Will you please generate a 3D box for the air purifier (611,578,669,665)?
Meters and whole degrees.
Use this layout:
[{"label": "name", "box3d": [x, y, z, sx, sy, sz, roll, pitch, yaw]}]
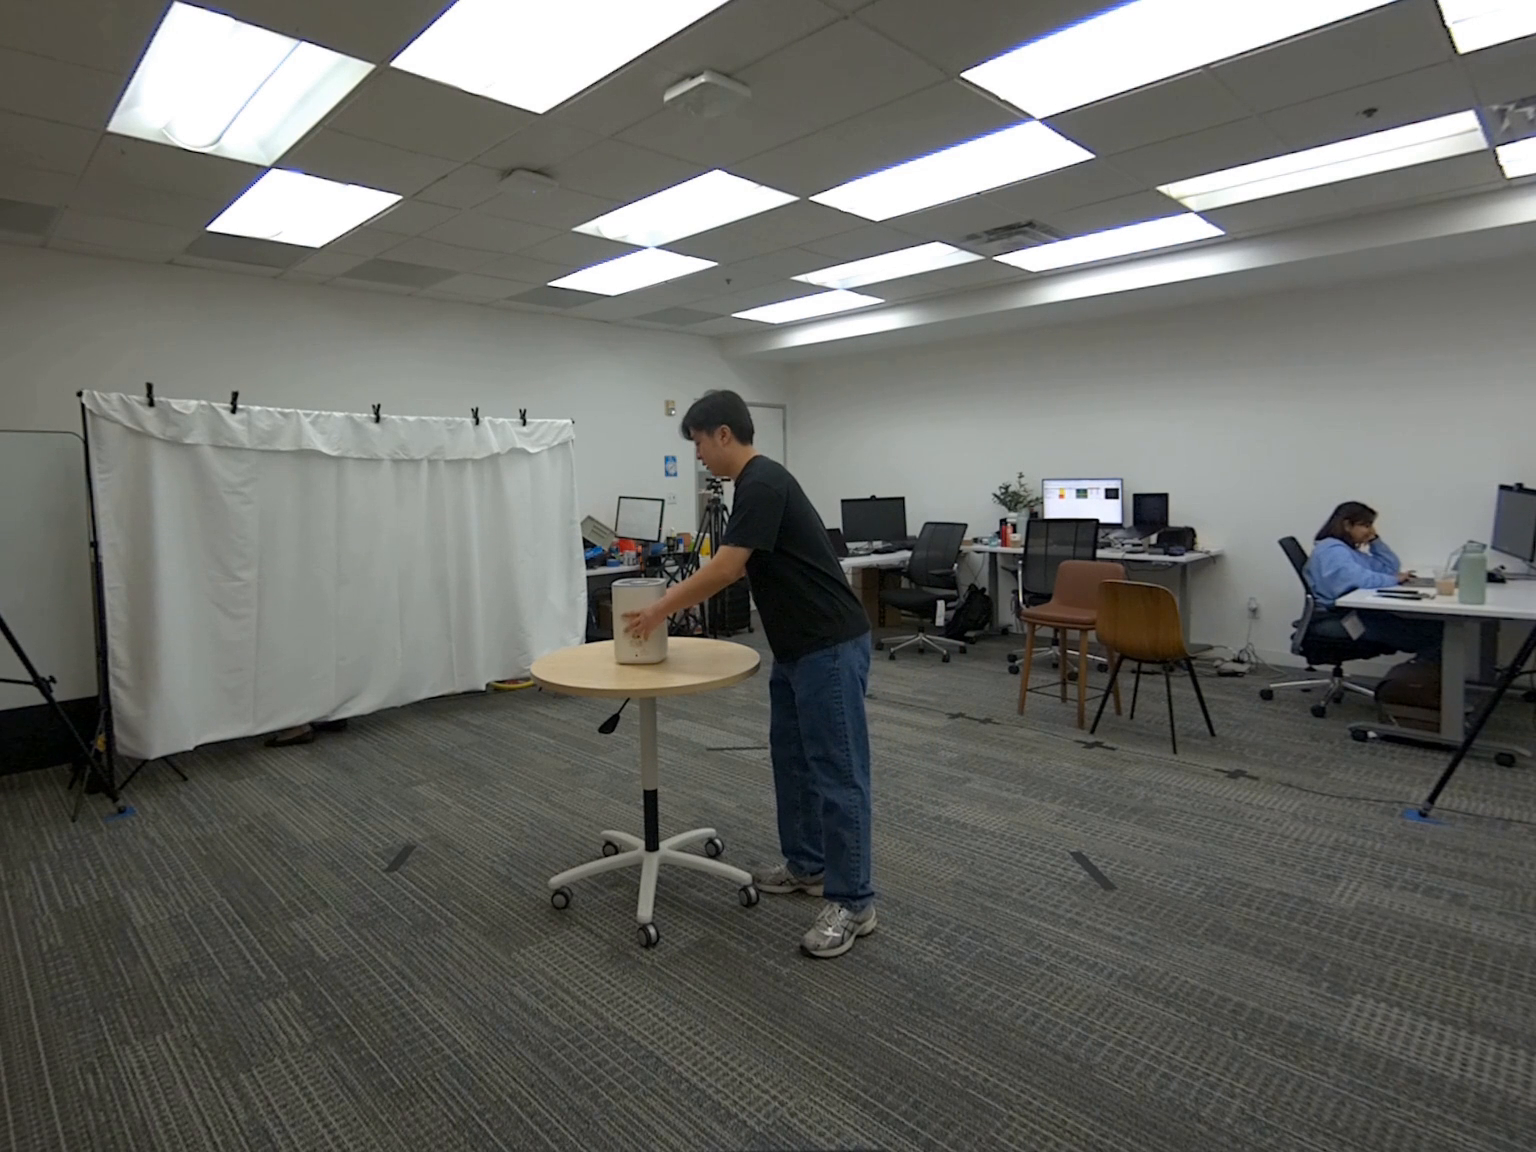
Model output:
[{"label": "air purifier", "box3d": [-0.417, 0.150, 2.848, 0.172, 0.264, 0.171, -1, 5, 5]}]
